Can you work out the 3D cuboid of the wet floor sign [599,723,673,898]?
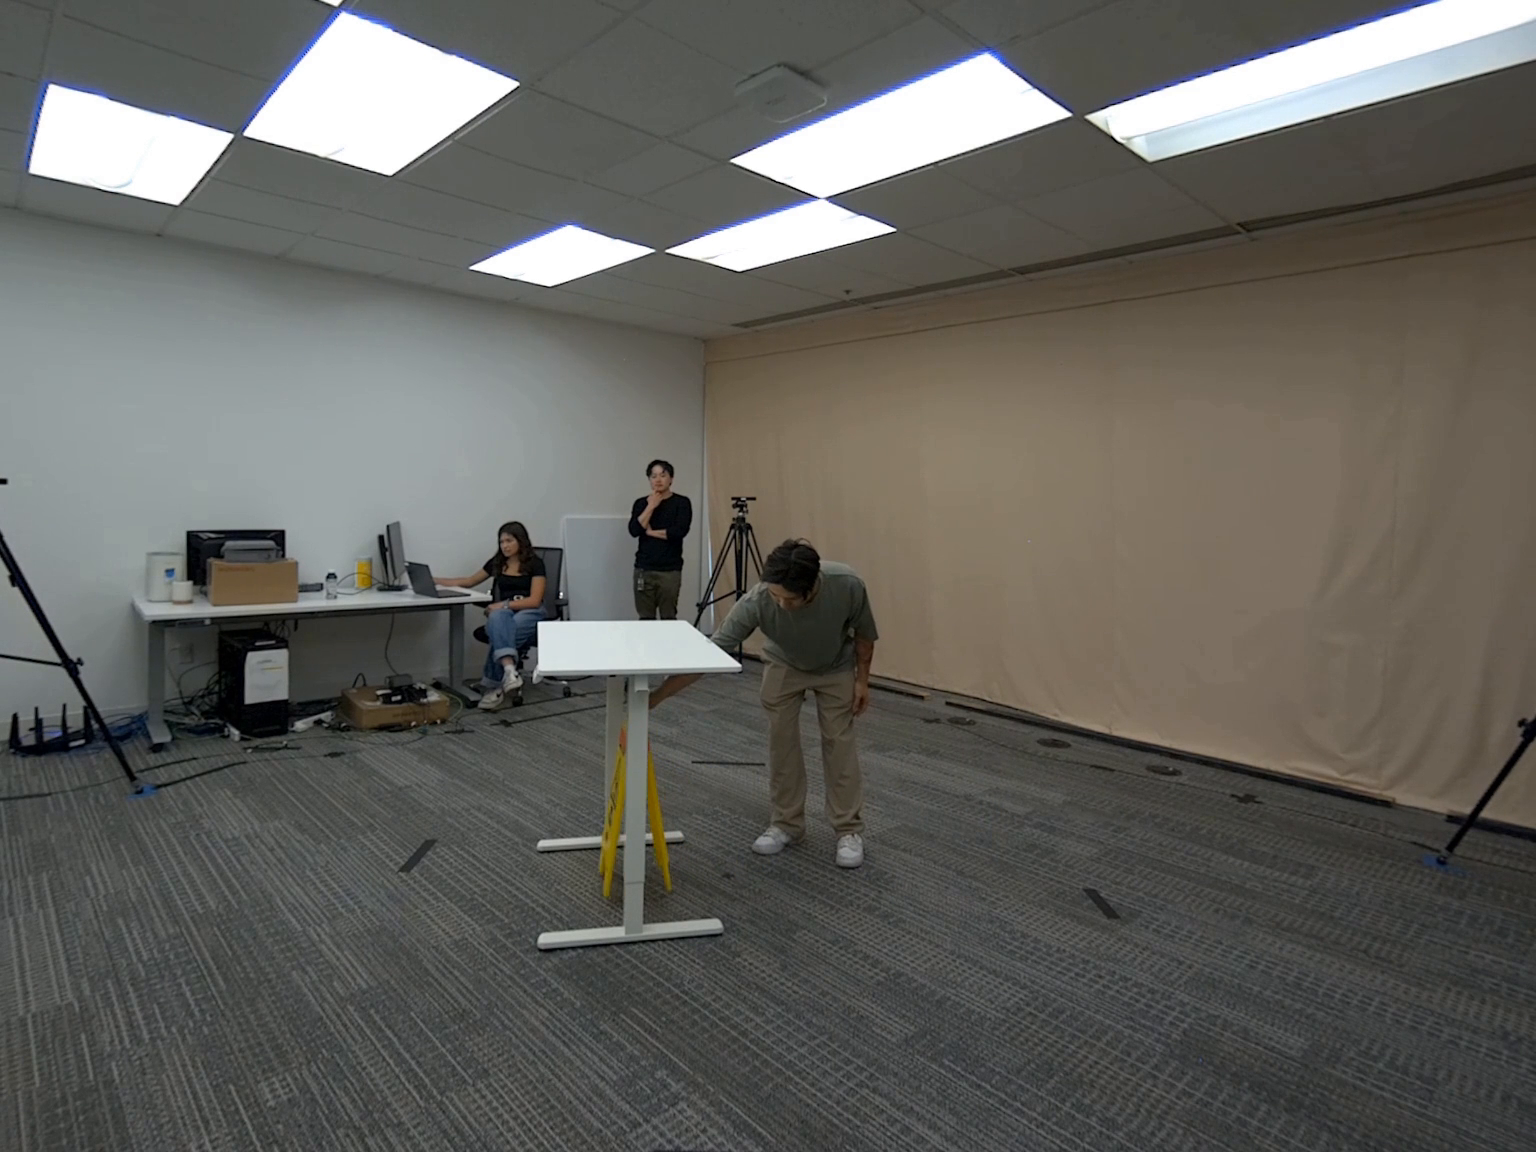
[{"bbox_3d":[-0.493,0.774,3.001,0.286,0.646,0.285,-1,0,-14],"label":"wet floor sign"}]
